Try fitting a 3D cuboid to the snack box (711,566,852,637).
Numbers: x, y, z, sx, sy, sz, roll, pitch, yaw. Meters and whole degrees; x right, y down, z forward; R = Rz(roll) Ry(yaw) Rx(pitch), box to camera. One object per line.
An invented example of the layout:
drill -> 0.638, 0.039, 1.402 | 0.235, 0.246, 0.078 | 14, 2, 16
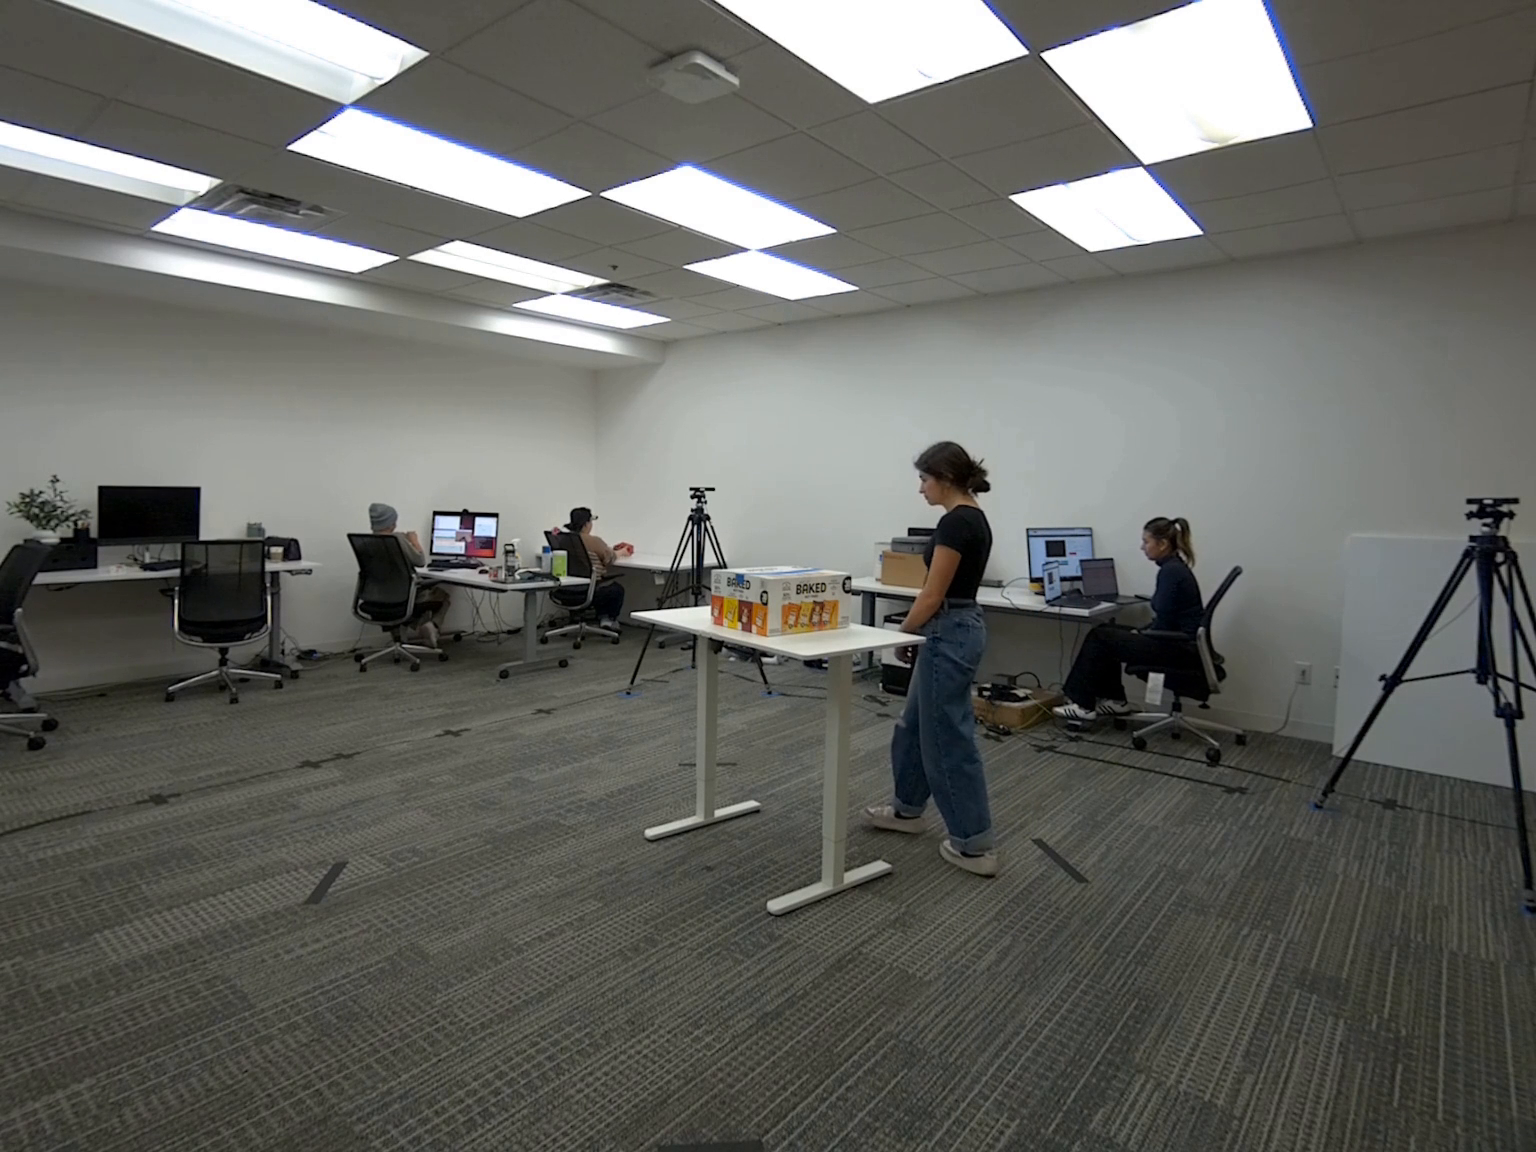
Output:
snack box -> 0.035, 0.081, 3.180 | 0.393, 0.205, 0.352 | -3, 7, -39
